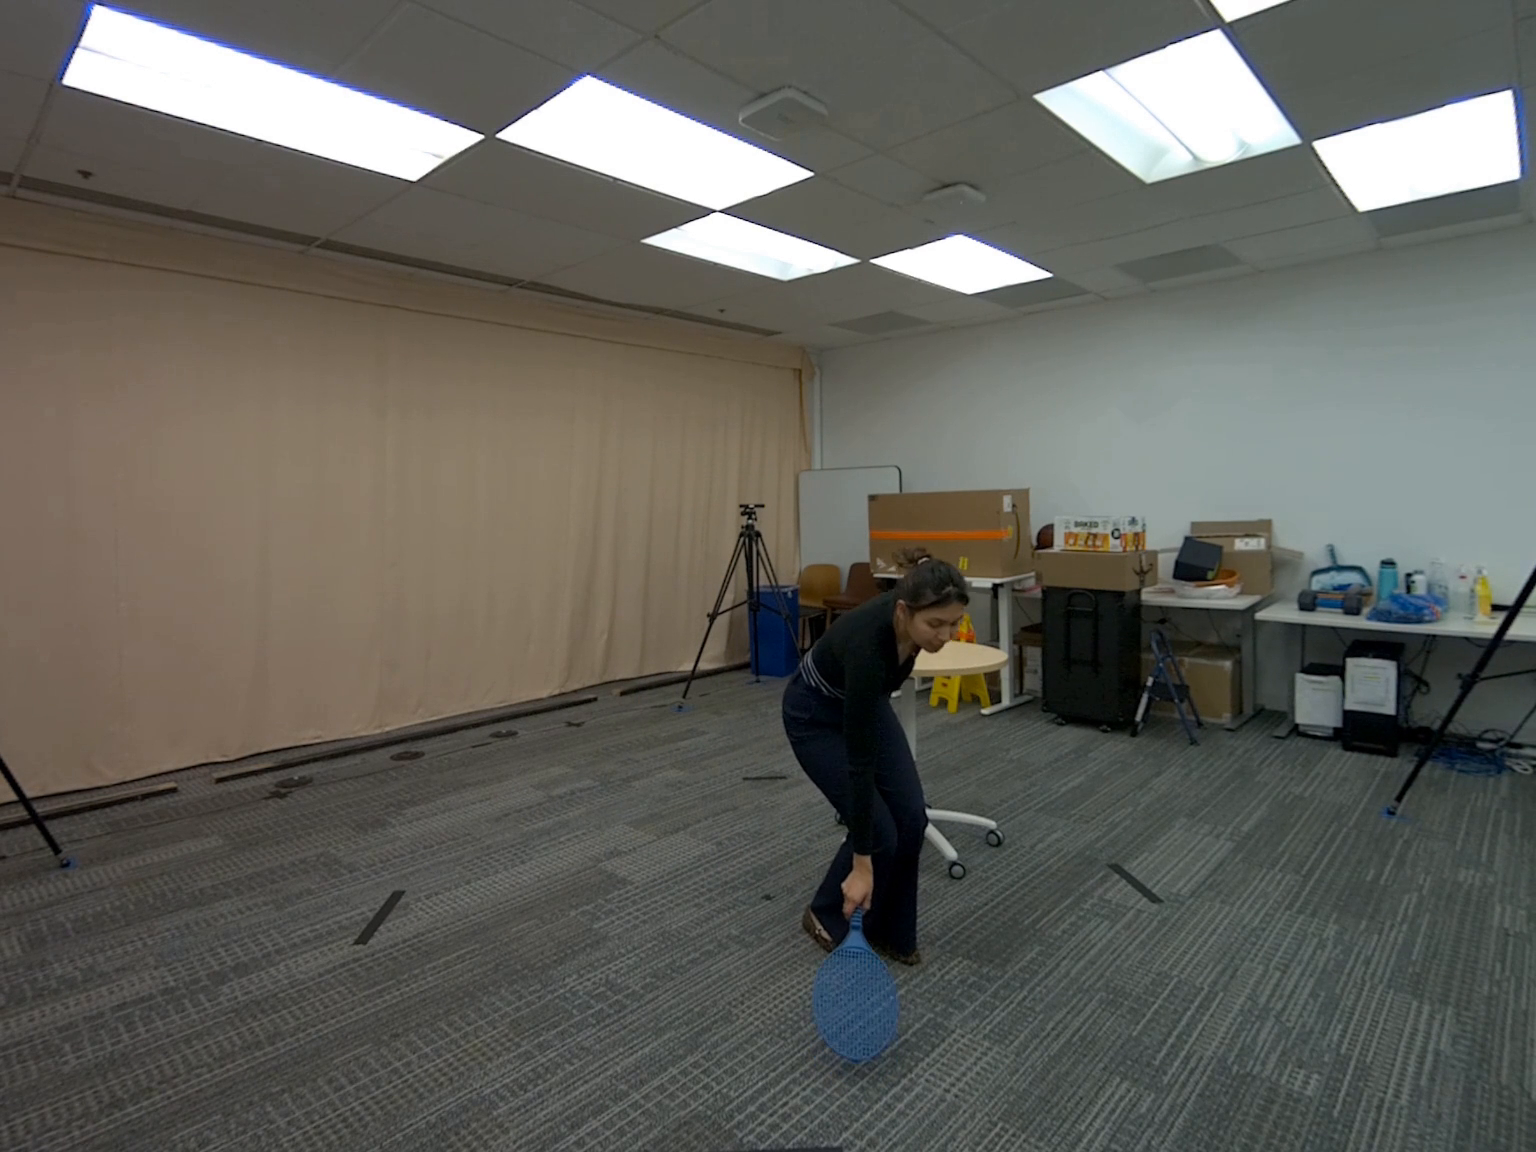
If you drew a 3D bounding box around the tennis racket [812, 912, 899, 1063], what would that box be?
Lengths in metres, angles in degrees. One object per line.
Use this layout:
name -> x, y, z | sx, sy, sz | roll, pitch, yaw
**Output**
tennis racket -> 0.236, 1.011, 2.198 | 0.214, 0.031, 0.440 | -2, 45, 3
